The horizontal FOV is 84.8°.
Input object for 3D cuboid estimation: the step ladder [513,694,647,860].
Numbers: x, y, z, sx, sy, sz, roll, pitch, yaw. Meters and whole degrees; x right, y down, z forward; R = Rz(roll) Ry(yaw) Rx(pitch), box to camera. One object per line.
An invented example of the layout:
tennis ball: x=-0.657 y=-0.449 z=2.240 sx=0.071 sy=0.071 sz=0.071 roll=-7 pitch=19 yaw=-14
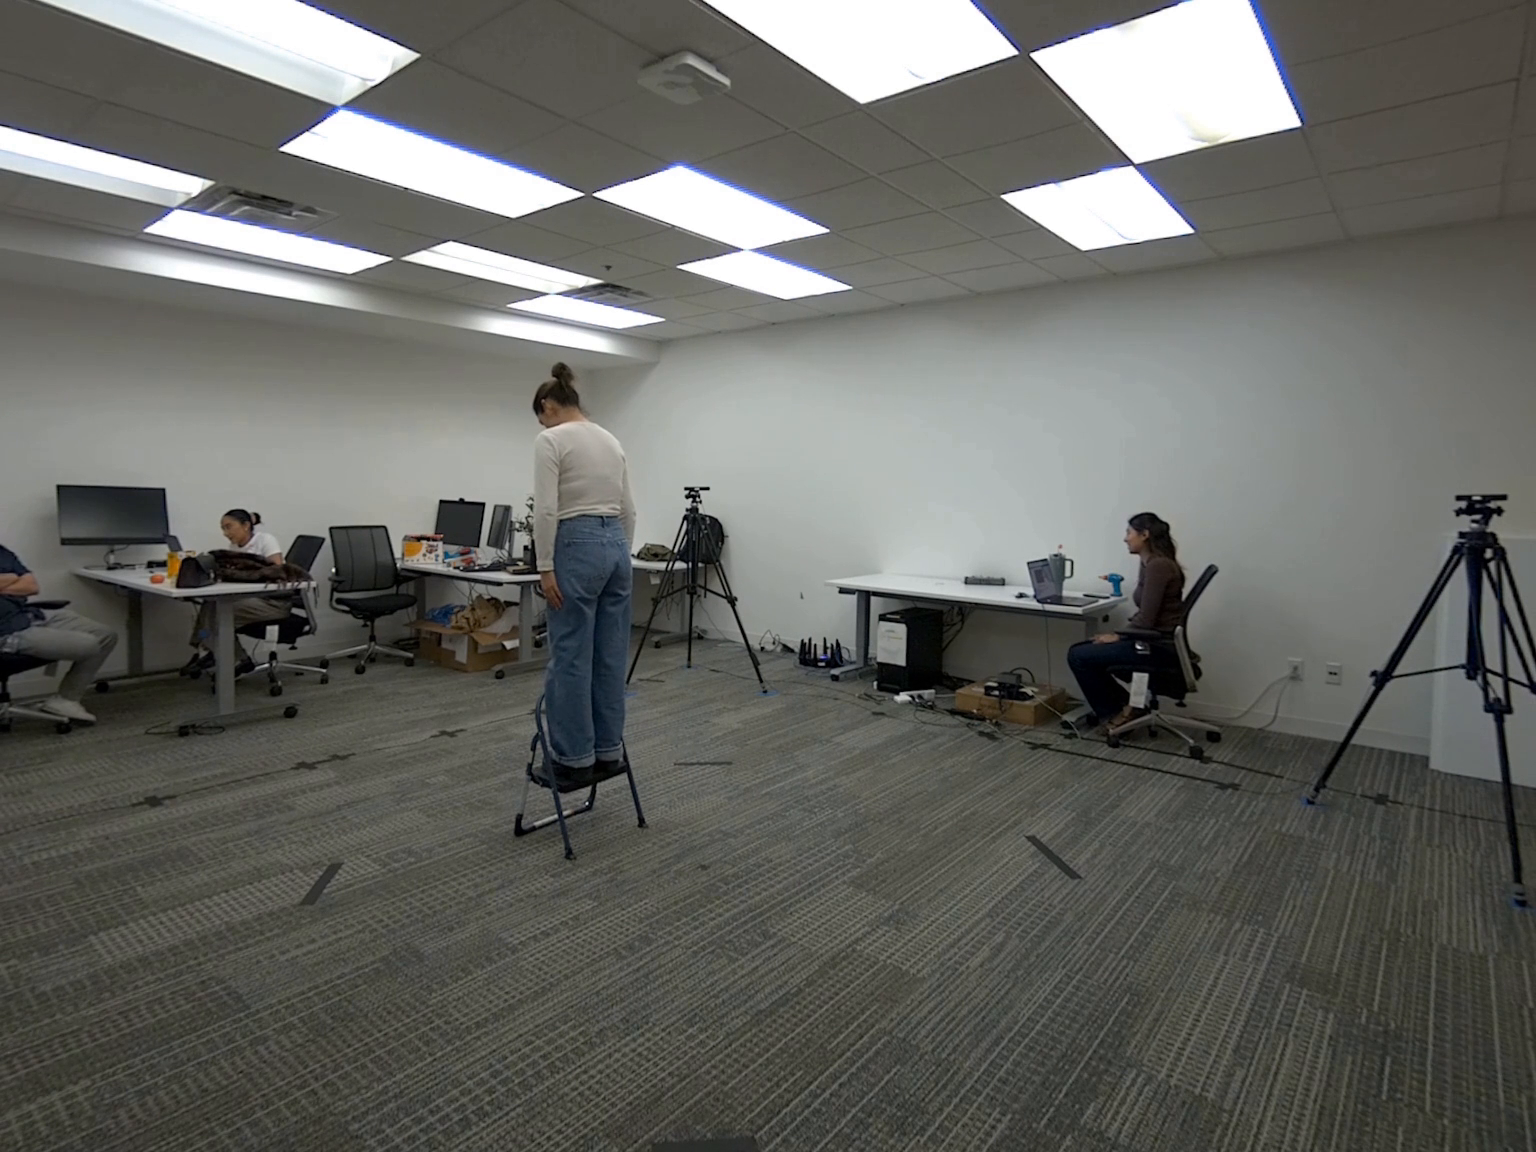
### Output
step ladder: x=-0.760 y=0.726 z=3.422 sx=0.360 sy=0.605 sz=0.418 roll=2 pitch=3 yaw=36
